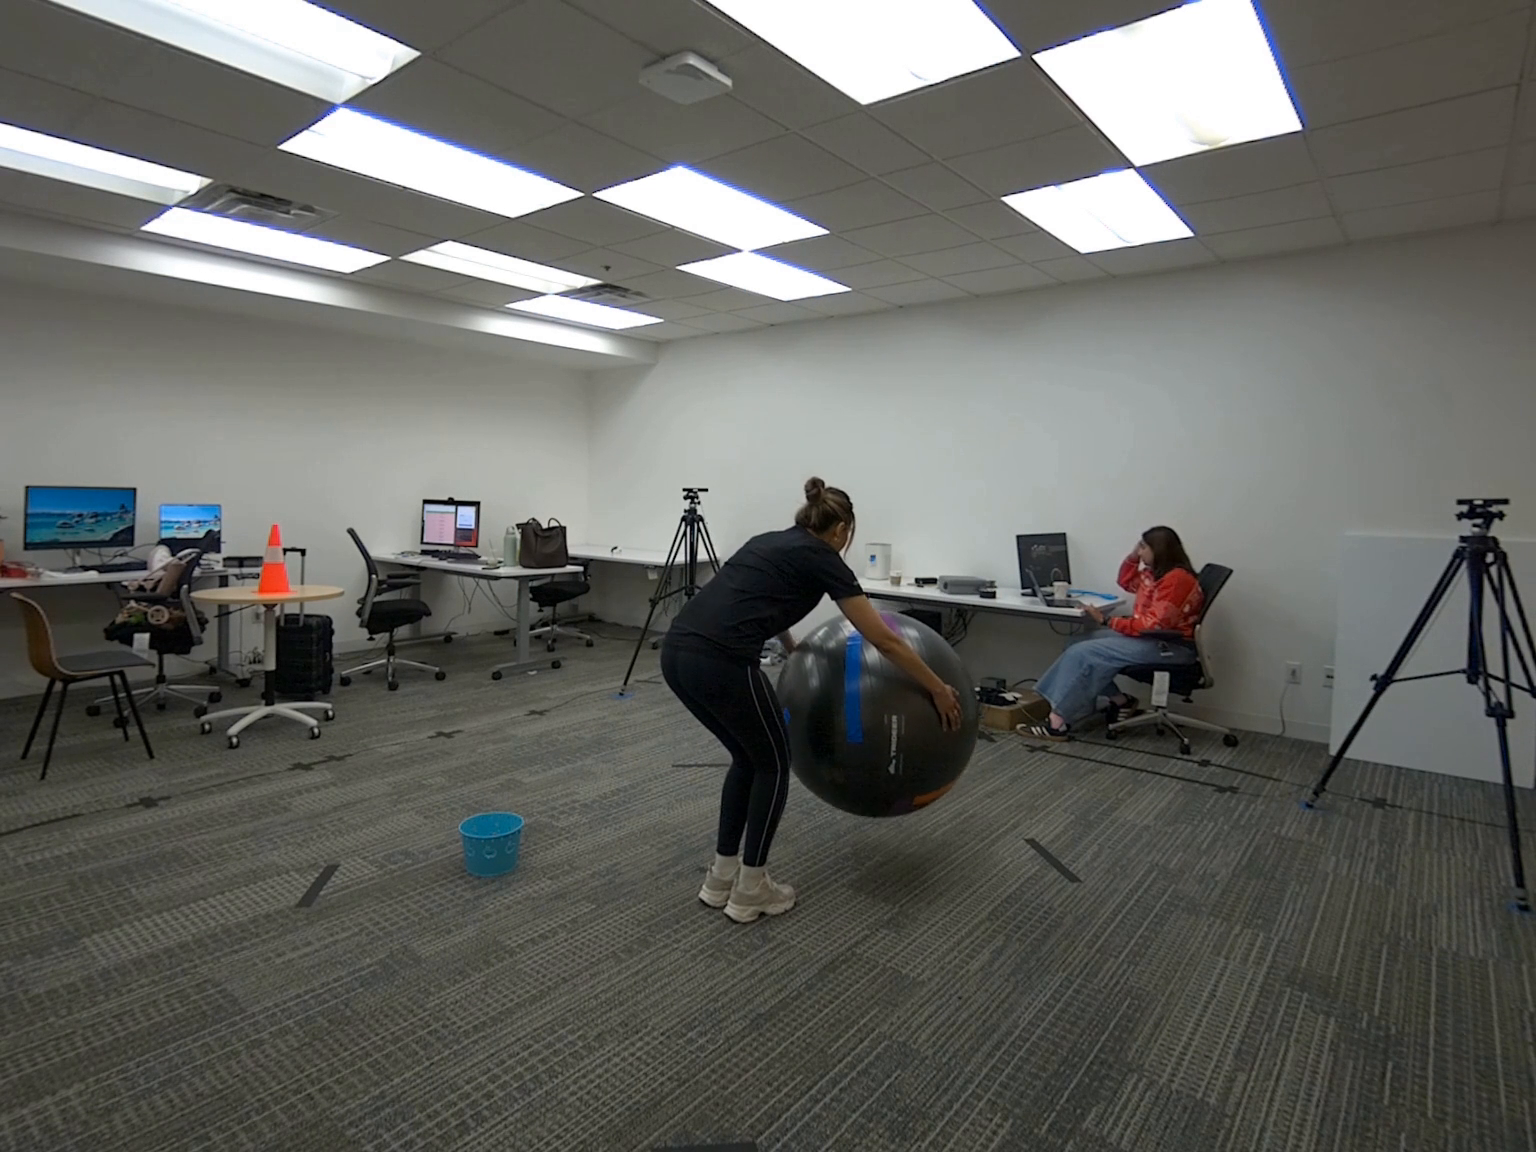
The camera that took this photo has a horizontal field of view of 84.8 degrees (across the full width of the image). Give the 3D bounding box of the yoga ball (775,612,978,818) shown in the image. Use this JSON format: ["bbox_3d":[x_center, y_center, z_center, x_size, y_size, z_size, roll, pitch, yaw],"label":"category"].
[{"bbox_3d":[0.401,0.505,3.194,0.757,0.756,0.762,1,4,-2],"label":"yoga ball"}]
